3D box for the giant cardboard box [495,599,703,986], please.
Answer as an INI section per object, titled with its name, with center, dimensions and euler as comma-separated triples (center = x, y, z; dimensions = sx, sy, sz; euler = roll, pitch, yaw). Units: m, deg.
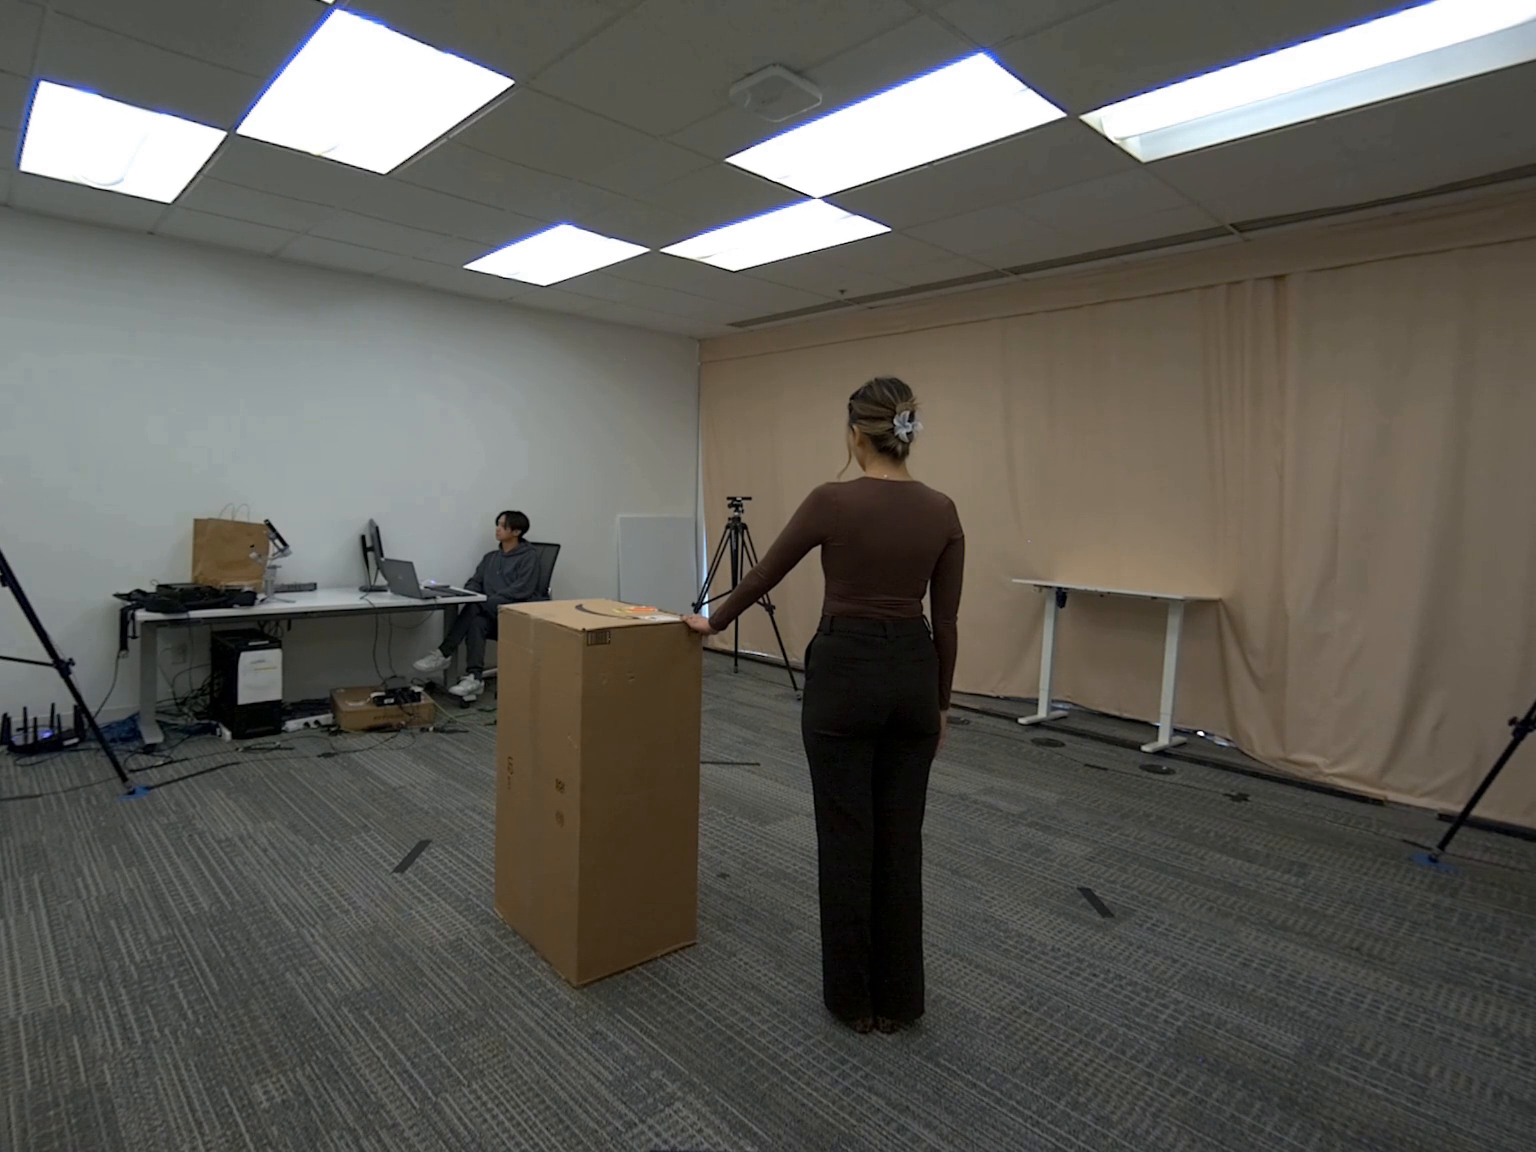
[giant cardboard box]
center = -0.560, 0.625, 2.696
dimensions = 0.436, 1.025, 0.598
euler = 0, 3, -38
